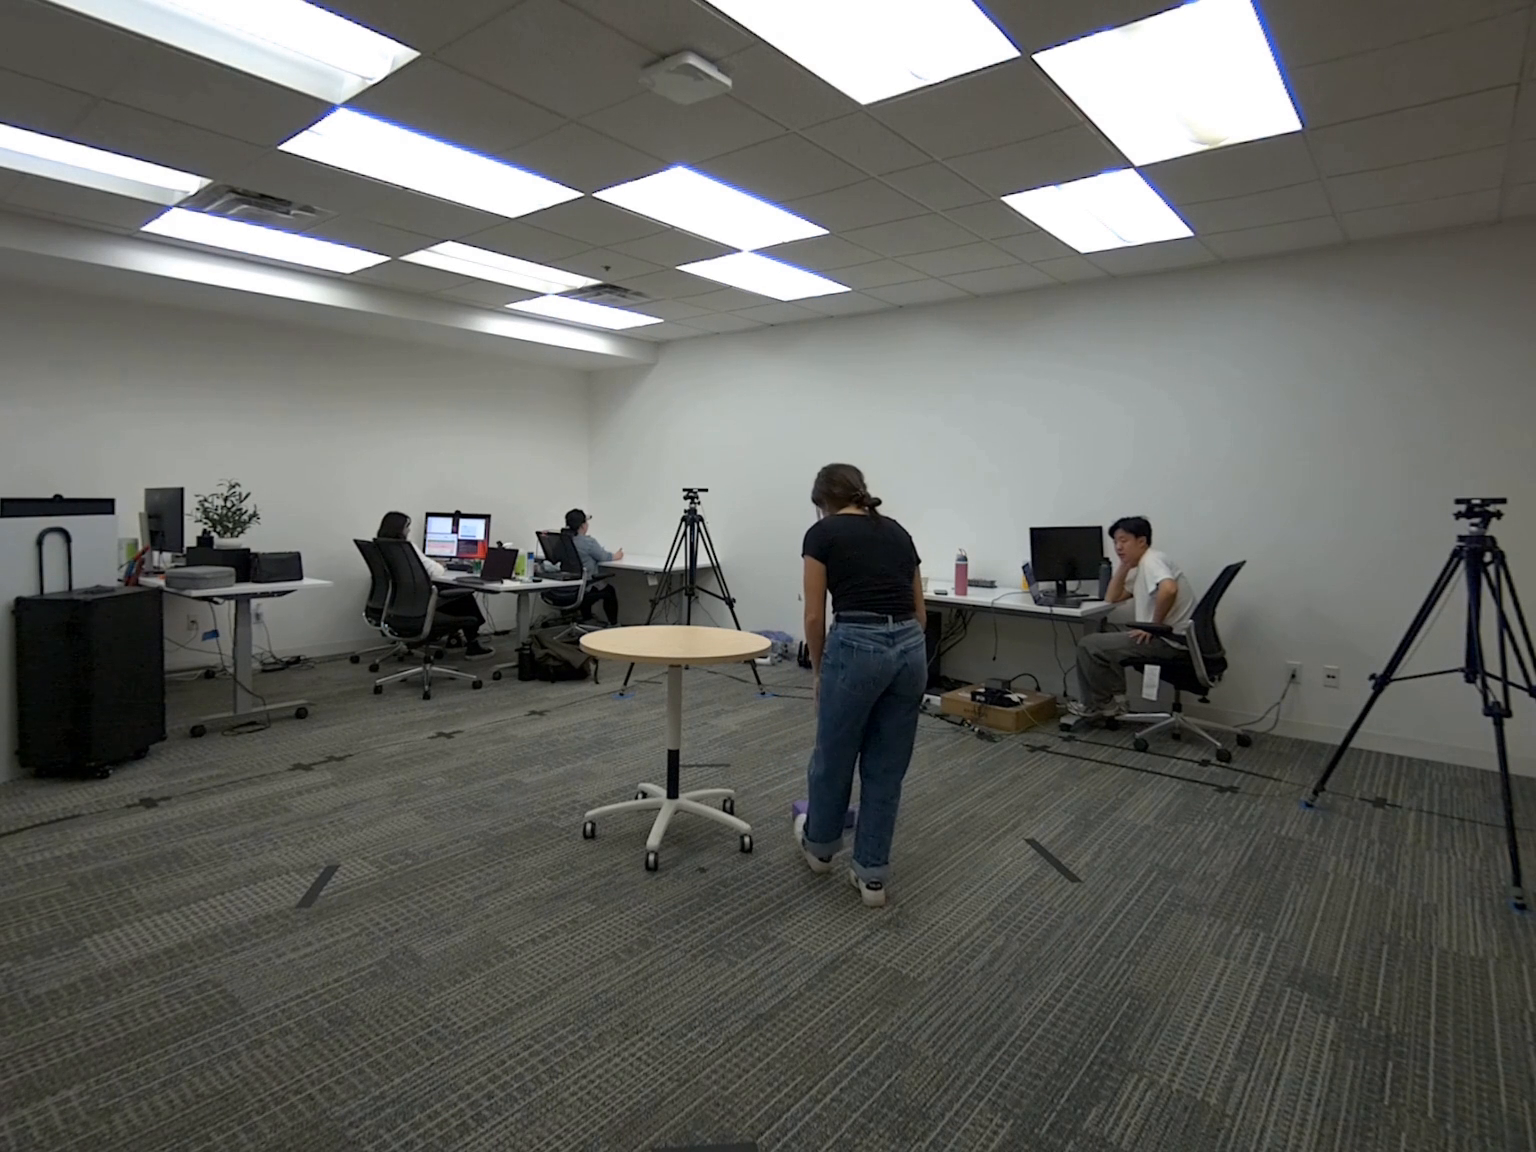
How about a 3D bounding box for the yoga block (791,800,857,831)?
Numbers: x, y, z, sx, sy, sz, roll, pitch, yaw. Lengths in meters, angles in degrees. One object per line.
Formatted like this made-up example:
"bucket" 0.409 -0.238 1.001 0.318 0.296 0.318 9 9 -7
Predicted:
"yoga block" 0.248 0.984 3.568 0.226 0.076 0.152 -3 6 -14
